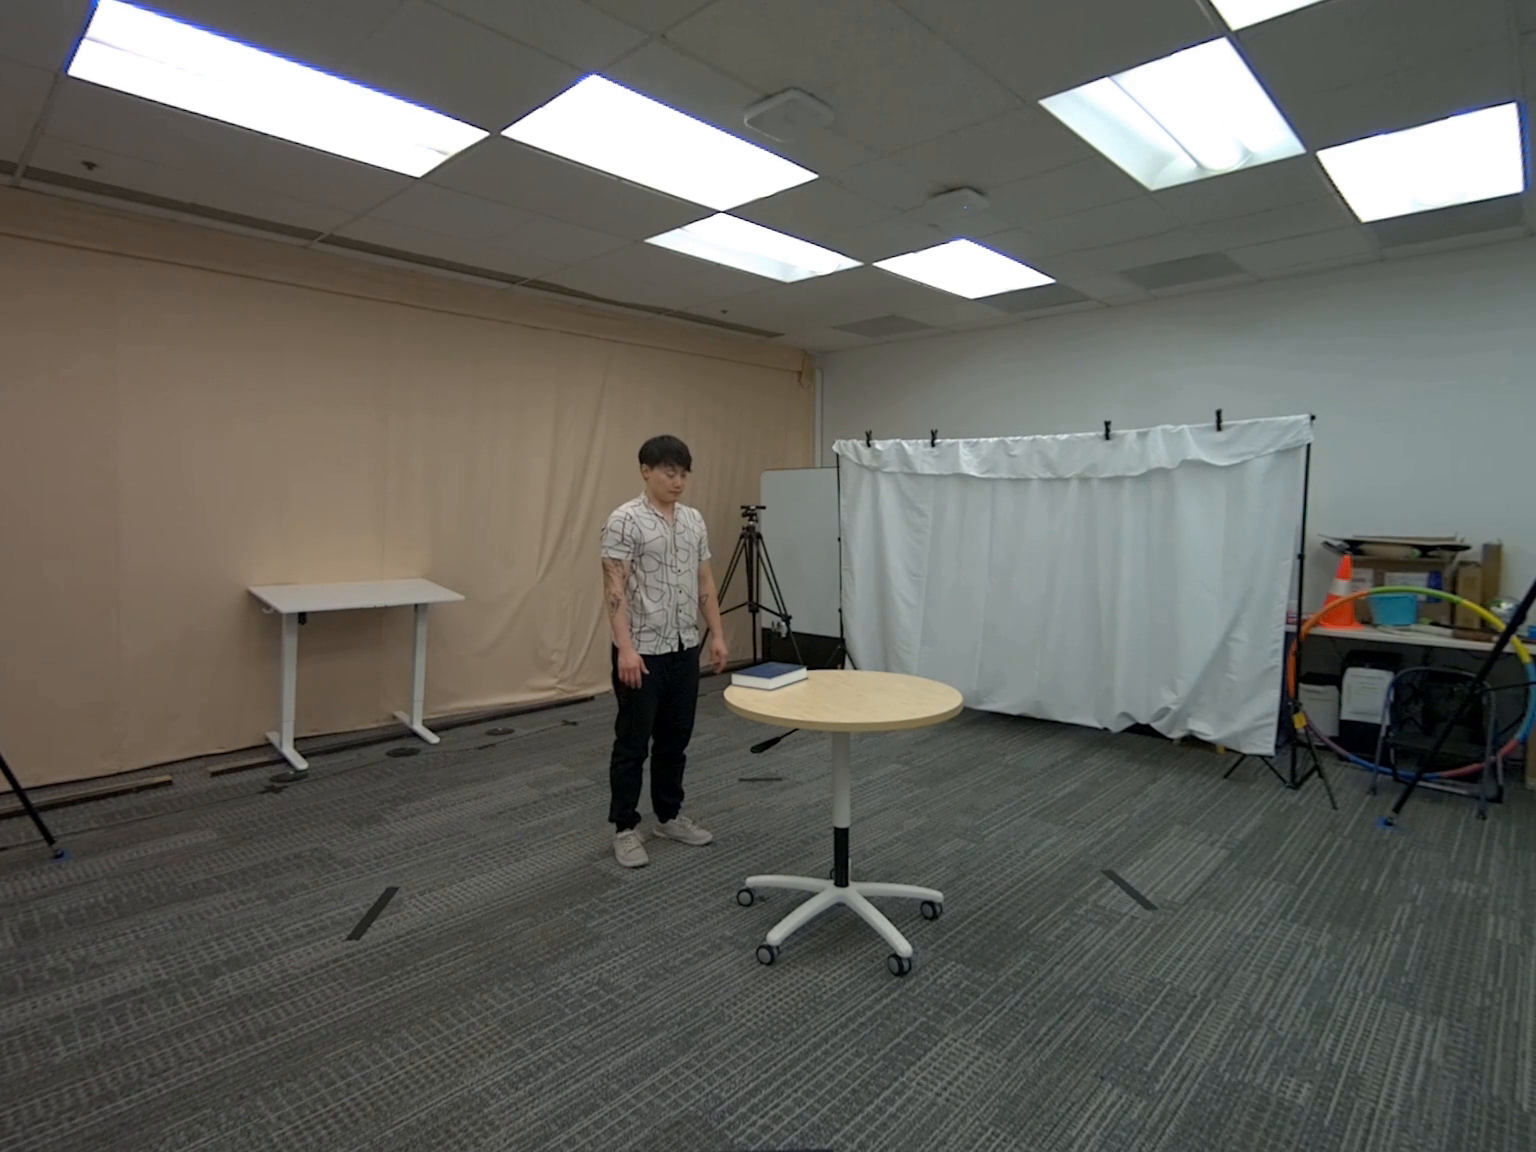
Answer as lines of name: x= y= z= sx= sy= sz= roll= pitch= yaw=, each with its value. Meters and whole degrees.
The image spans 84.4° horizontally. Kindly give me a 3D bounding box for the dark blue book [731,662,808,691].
dark blue book: x=0.012 y=0.349 z=2.932 sx=0.168 sy=0.045 sz=0.238 roll=2 pitch=6 yaw=35
